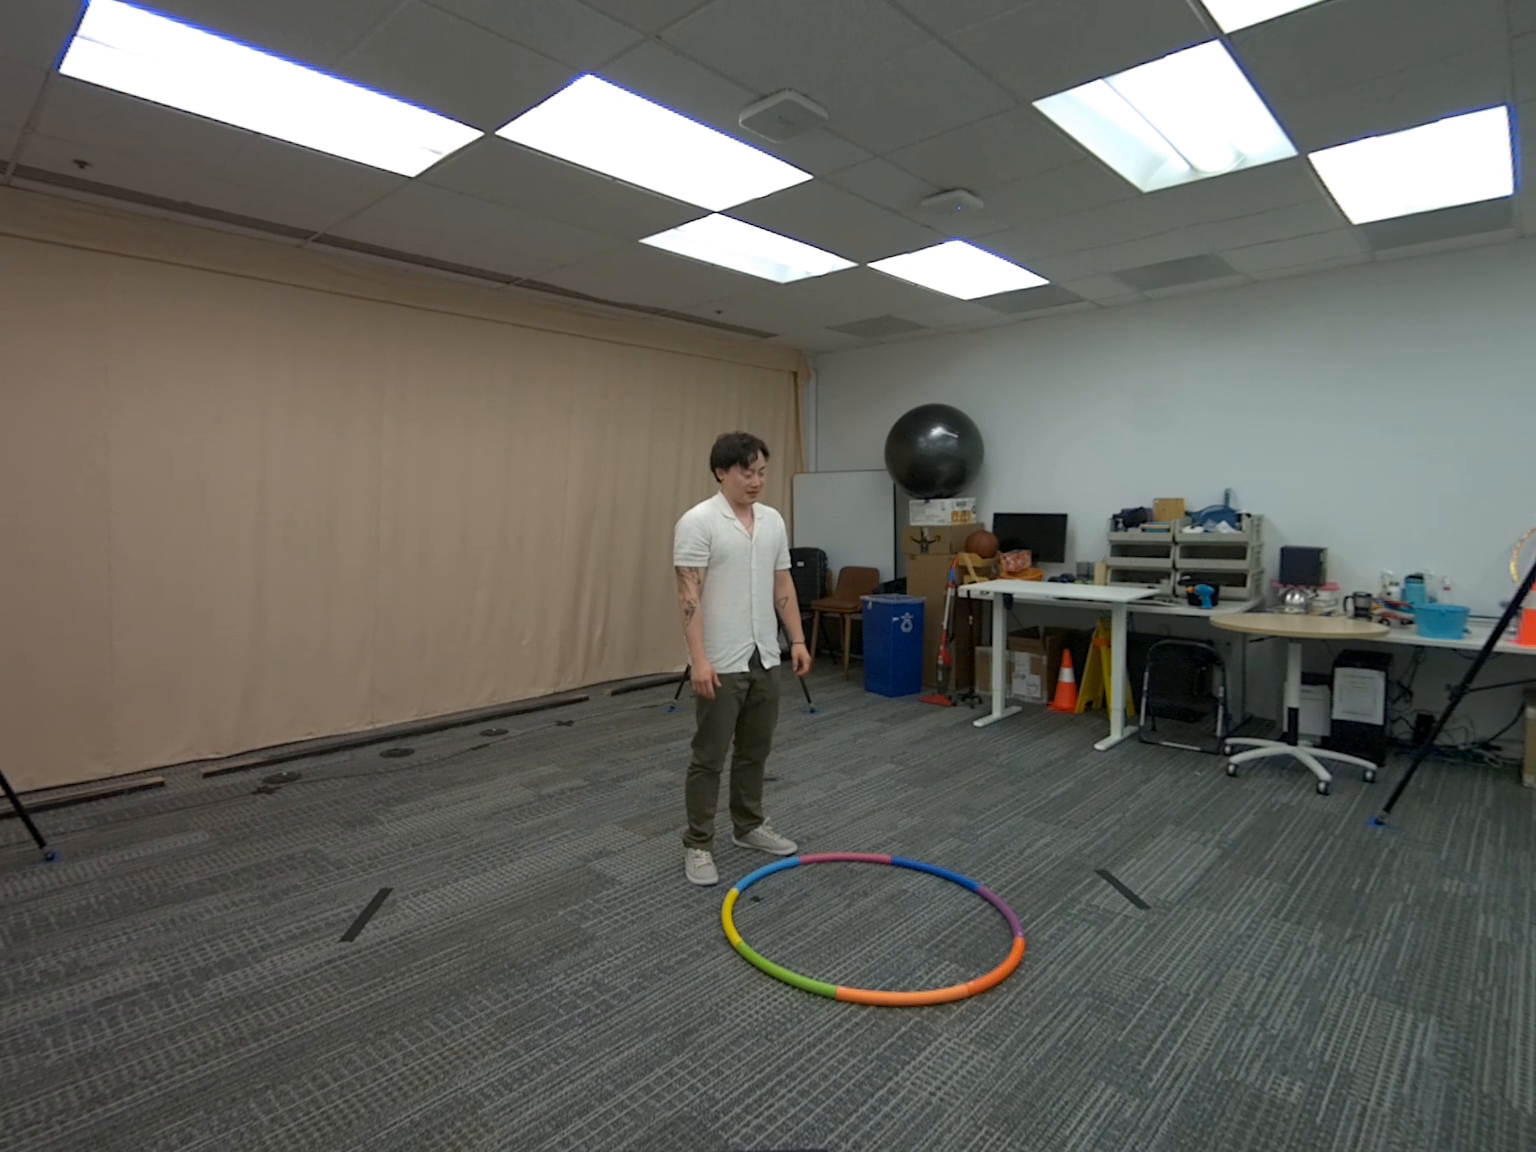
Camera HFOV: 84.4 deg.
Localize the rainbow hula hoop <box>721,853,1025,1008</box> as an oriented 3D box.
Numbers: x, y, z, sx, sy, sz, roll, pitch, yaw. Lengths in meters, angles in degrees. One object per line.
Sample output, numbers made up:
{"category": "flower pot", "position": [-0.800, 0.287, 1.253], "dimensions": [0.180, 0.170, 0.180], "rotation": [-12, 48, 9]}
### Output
{"category": "rainbow hula hoop", "position": [0.335, 1.127, 2.823], "dimensions": [0.978, 0.035, 0.982], "rotation": [0, 5, -2]}
